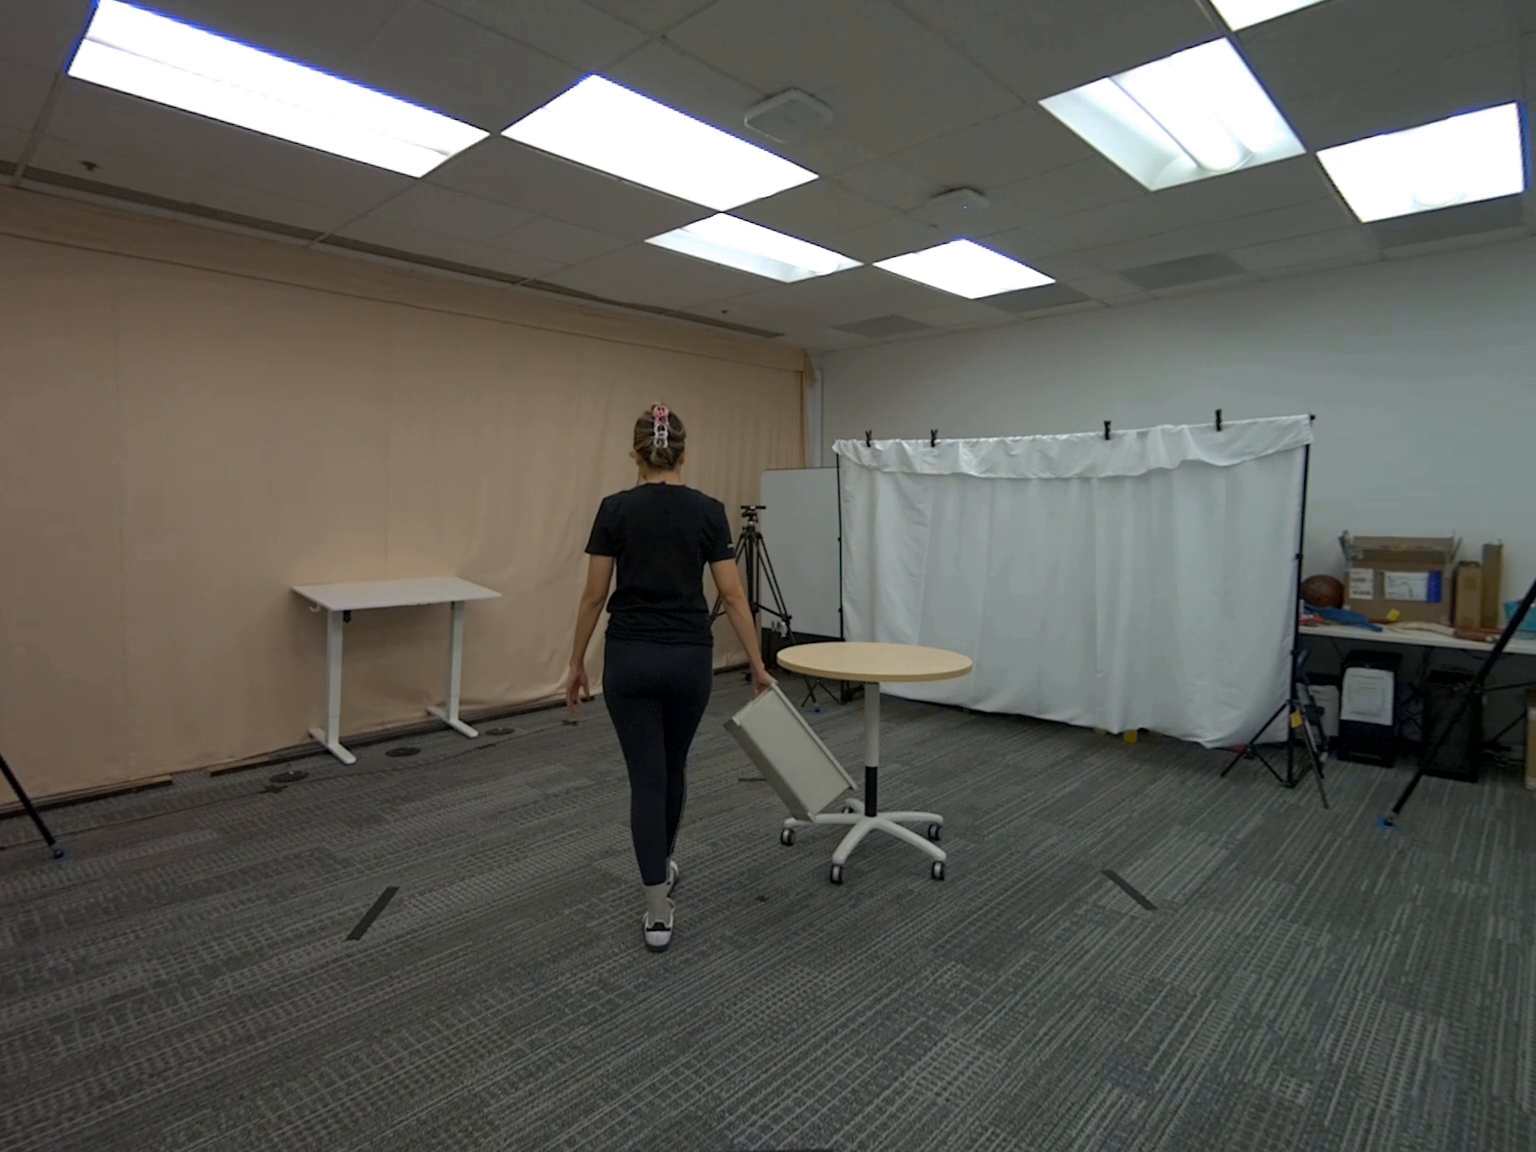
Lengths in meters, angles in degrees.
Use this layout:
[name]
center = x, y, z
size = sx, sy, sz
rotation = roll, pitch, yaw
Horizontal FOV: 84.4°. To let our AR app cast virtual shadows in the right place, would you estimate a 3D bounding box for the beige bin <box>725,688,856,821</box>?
[beige bin]
center = 0.059, 0.609, 2.855
size = 0.187, 0.427, 0.376
rotation = -37, -8, -15
